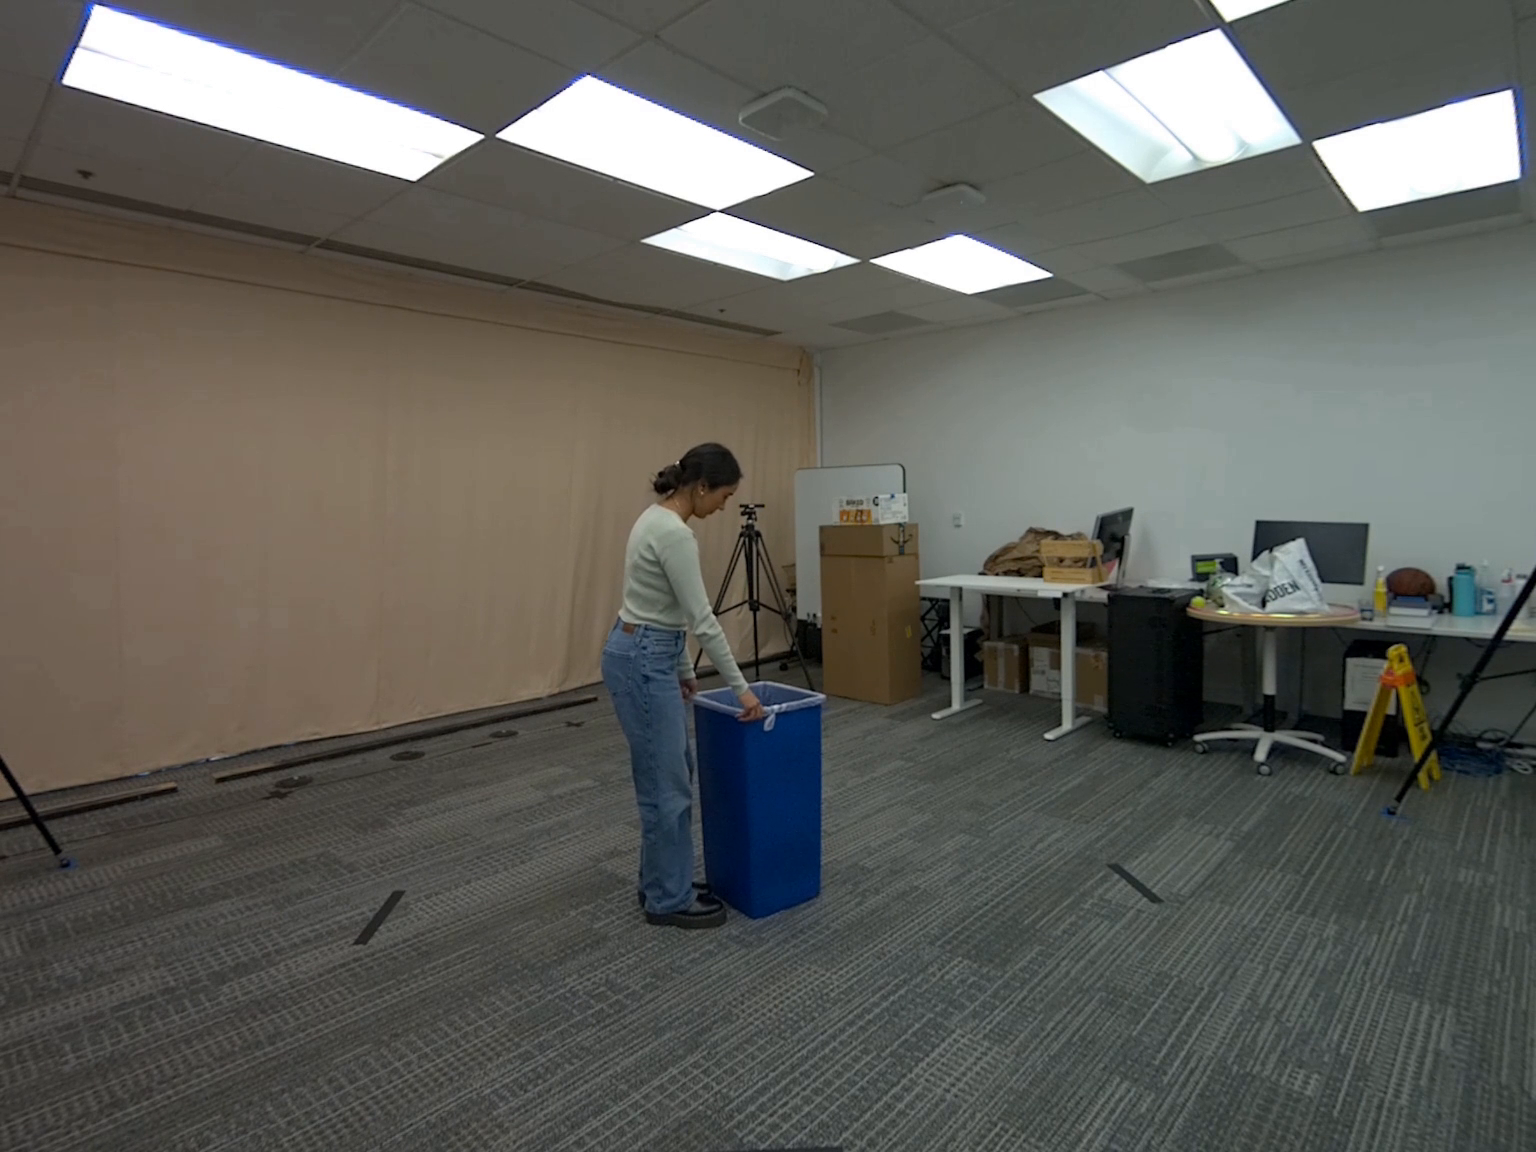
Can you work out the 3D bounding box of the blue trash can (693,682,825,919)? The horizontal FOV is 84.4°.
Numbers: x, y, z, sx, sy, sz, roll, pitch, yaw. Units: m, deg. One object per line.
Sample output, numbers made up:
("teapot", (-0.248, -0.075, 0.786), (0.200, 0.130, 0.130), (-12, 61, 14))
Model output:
("blue trash can", (-0.033, 0.778, 3.005), (0.367, 0.712, 0.386), (-4, 5, -36))
